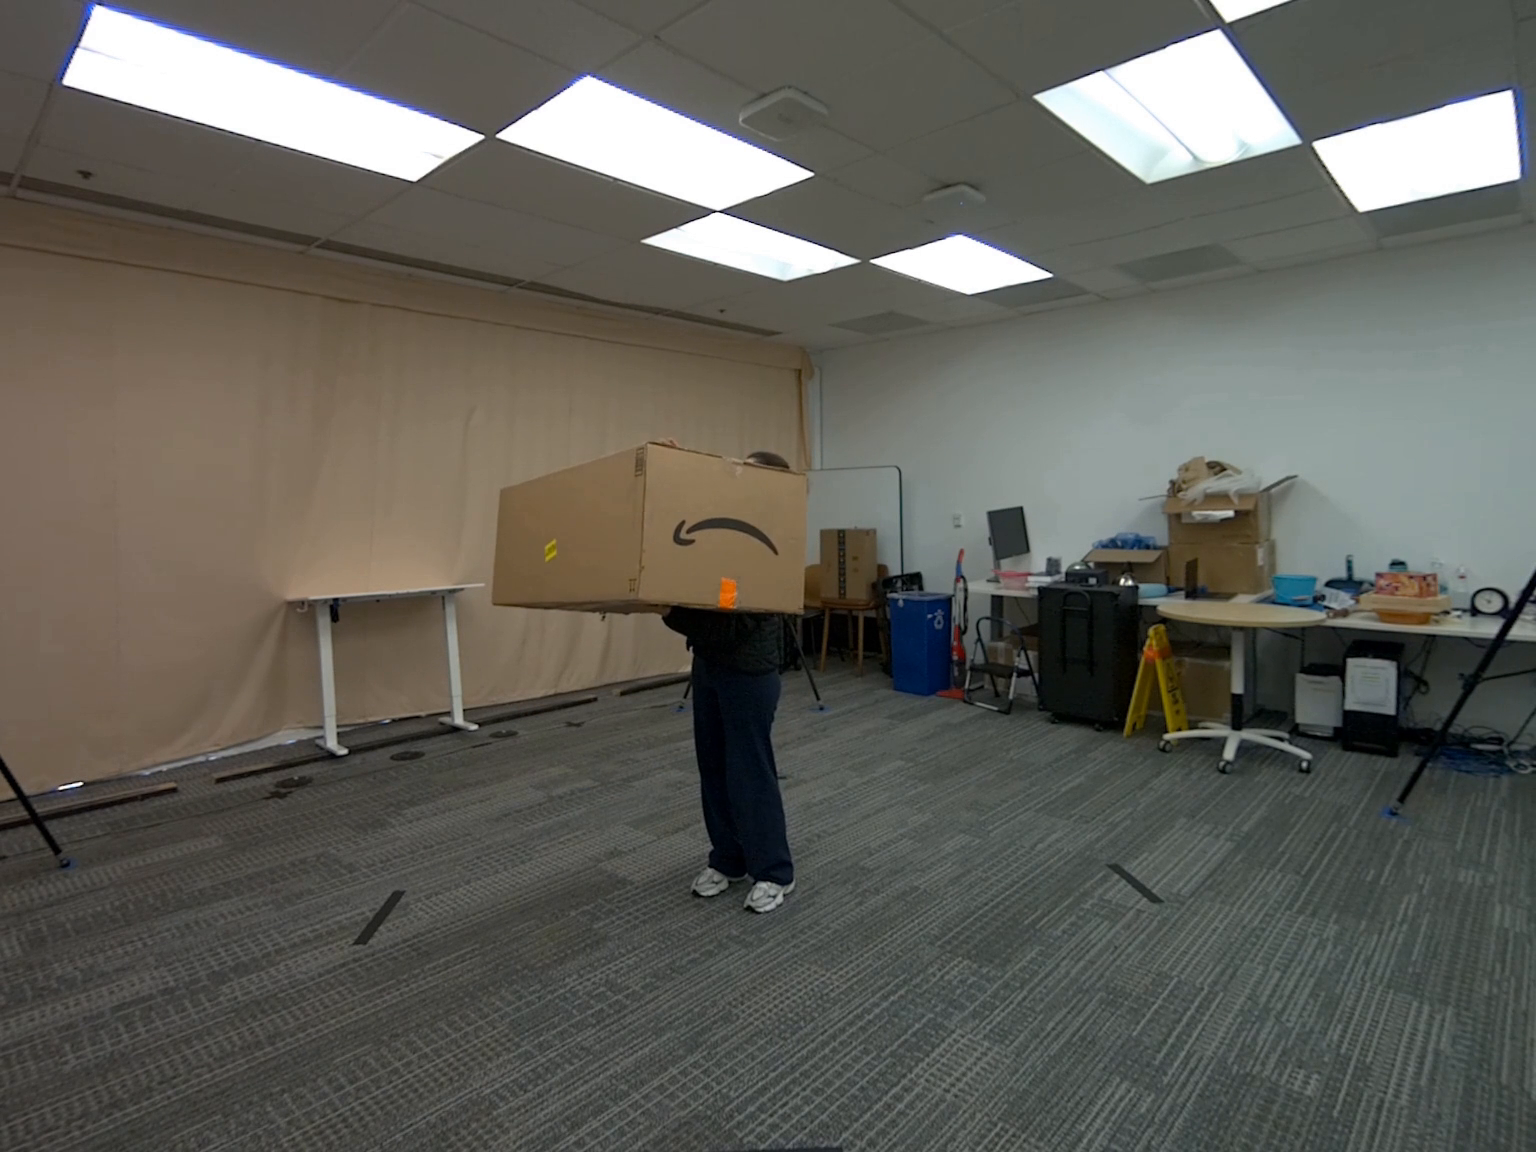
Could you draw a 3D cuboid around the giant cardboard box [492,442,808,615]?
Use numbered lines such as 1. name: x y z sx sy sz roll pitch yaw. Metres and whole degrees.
1. giant cardboard box: -0.418 -0.095 2.772 0.559 0.428 1.056 7 -7 -37
